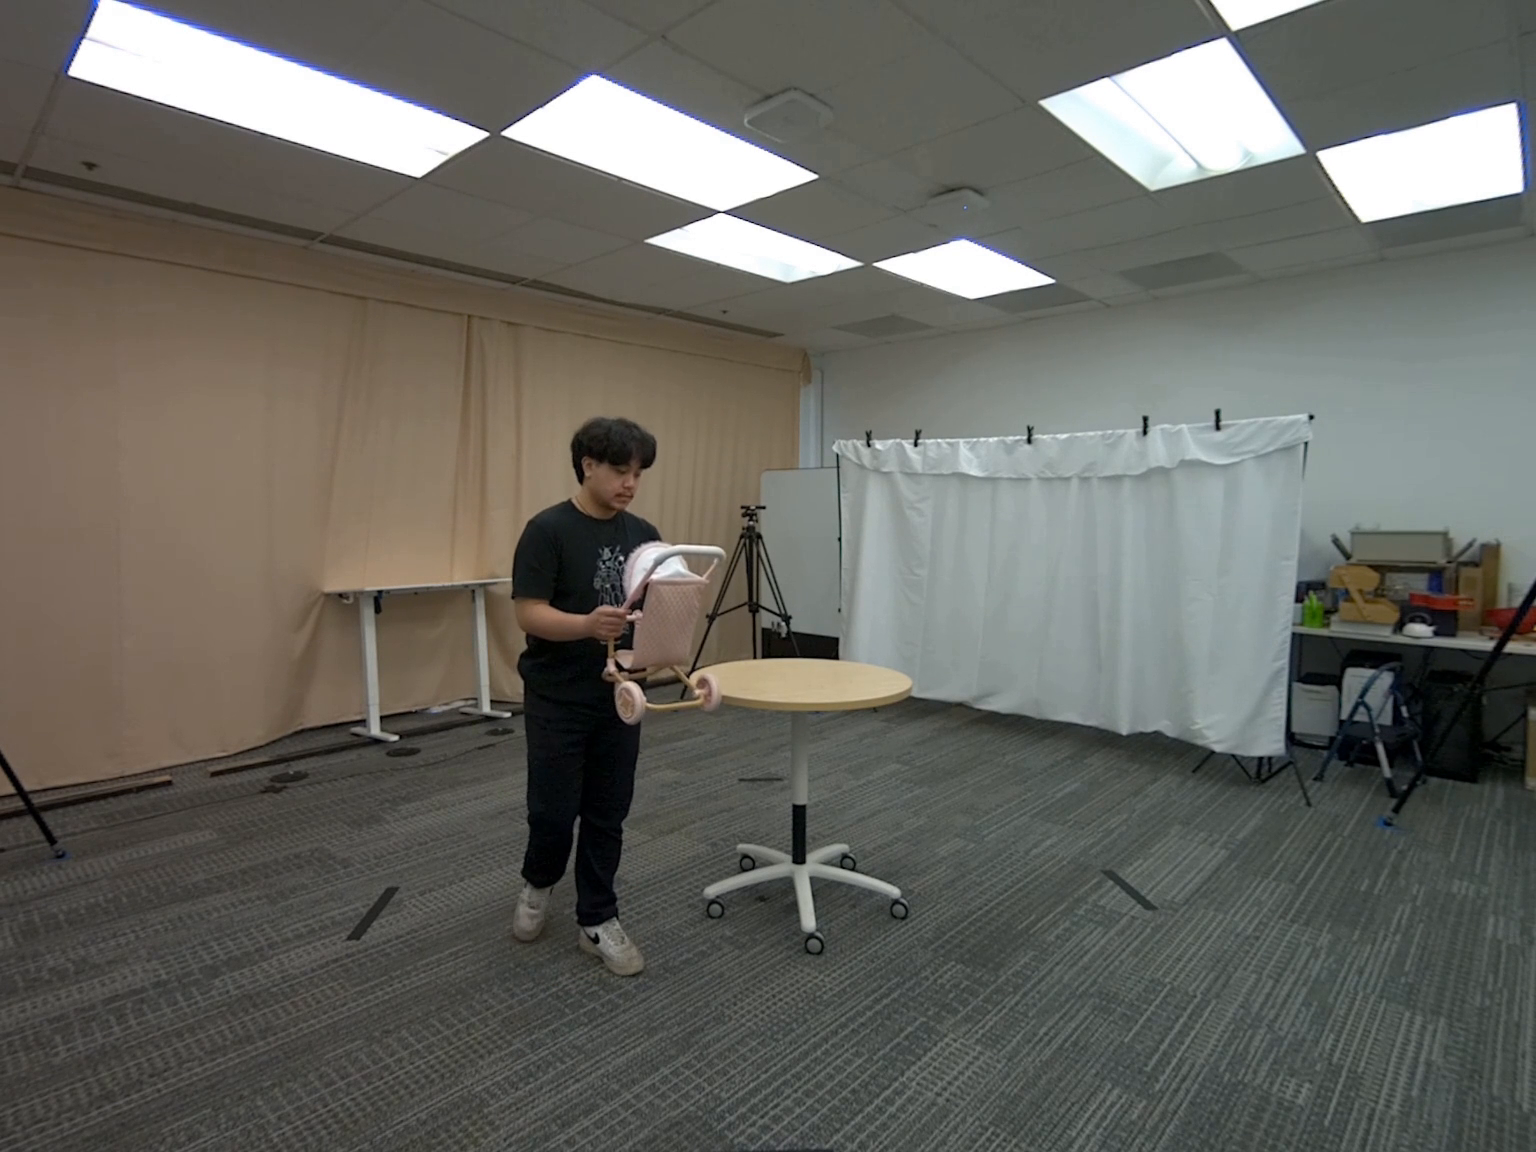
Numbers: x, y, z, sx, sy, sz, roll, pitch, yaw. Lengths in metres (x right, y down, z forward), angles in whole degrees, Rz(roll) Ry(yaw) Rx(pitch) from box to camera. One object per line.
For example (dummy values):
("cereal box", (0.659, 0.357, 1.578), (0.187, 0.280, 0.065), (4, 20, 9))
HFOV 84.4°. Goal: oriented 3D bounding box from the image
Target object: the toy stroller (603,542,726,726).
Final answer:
("toy stroller", (-0.305, 0.150, 2.292), (0.273, 0.532, 0.353), (0, 12, -35))
